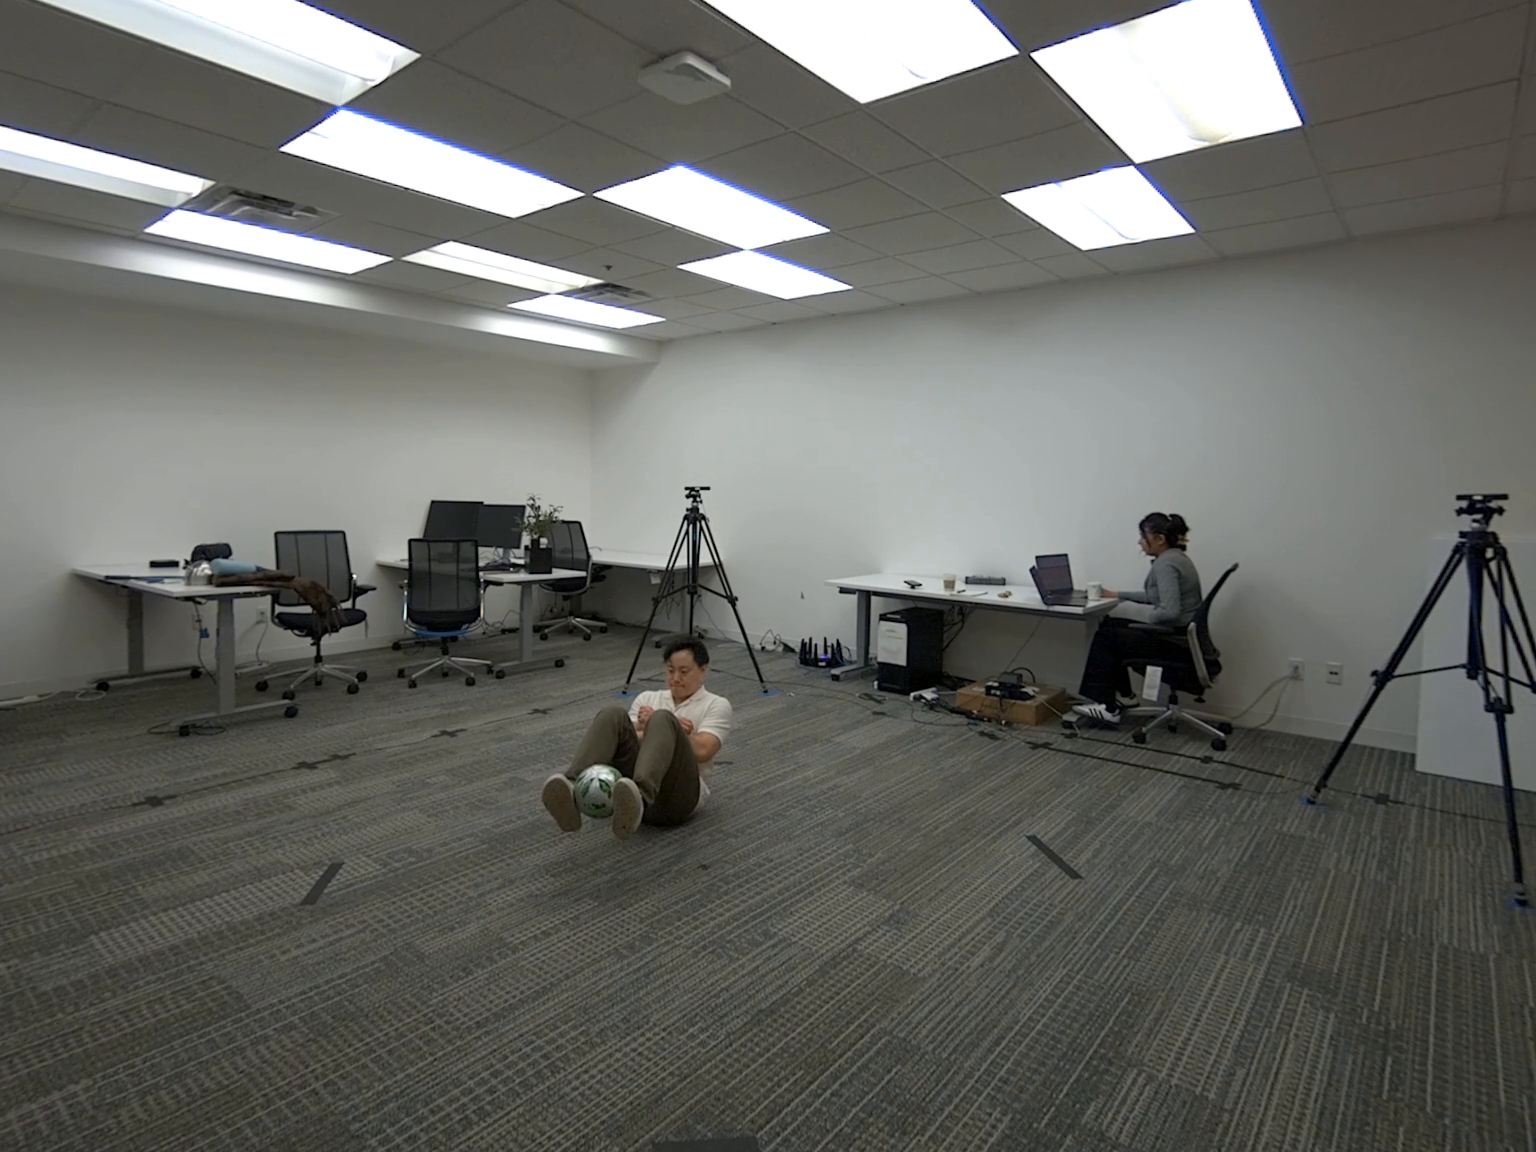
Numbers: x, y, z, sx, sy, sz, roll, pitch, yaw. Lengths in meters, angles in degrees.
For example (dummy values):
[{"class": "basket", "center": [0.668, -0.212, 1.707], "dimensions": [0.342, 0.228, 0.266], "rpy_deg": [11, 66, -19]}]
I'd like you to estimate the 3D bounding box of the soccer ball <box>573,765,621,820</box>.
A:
[{"class": "soccer ball", "center": [-0.622, 0.762, 3.023], "dimensions": [0.187, 0.187, 0.188], "rpy_deg": [1, 4, -2]}]
